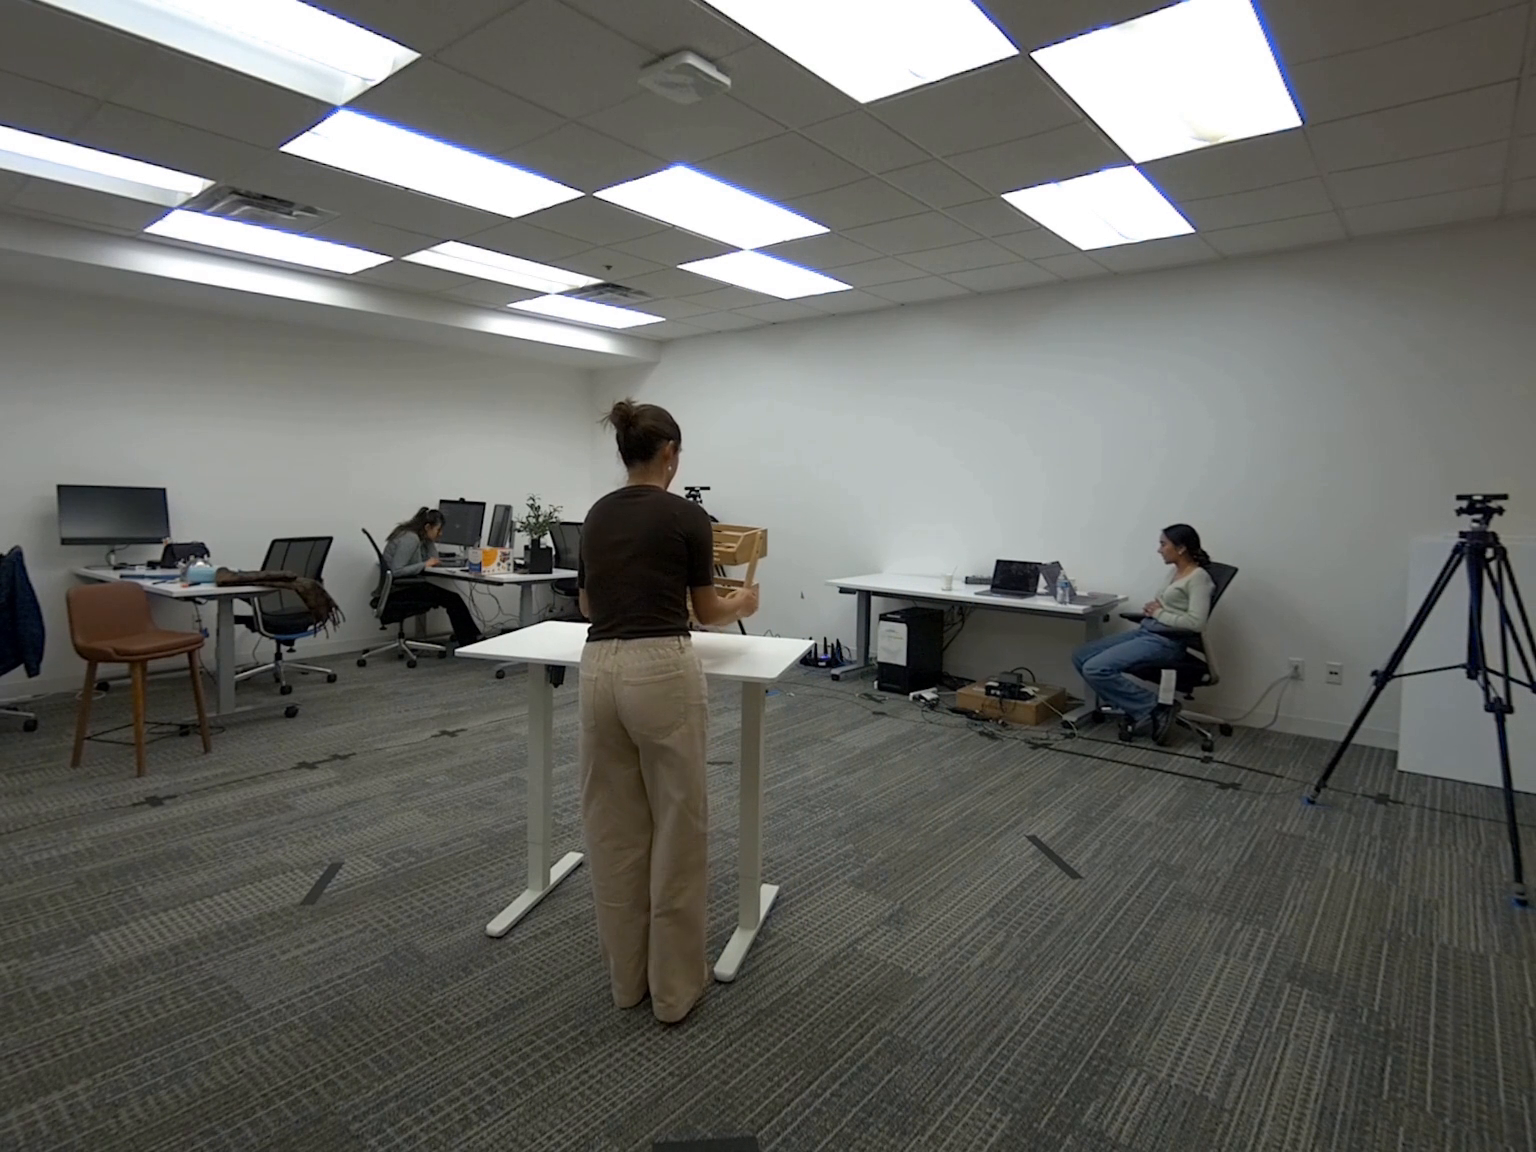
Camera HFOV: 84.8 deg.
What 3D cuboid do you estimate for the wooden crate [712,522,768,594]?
[{"bbox_3d":[-0.209,-0.019,2.678,0.334,0.270,0.296,7,13,29],"label":"wooden crate"}]
